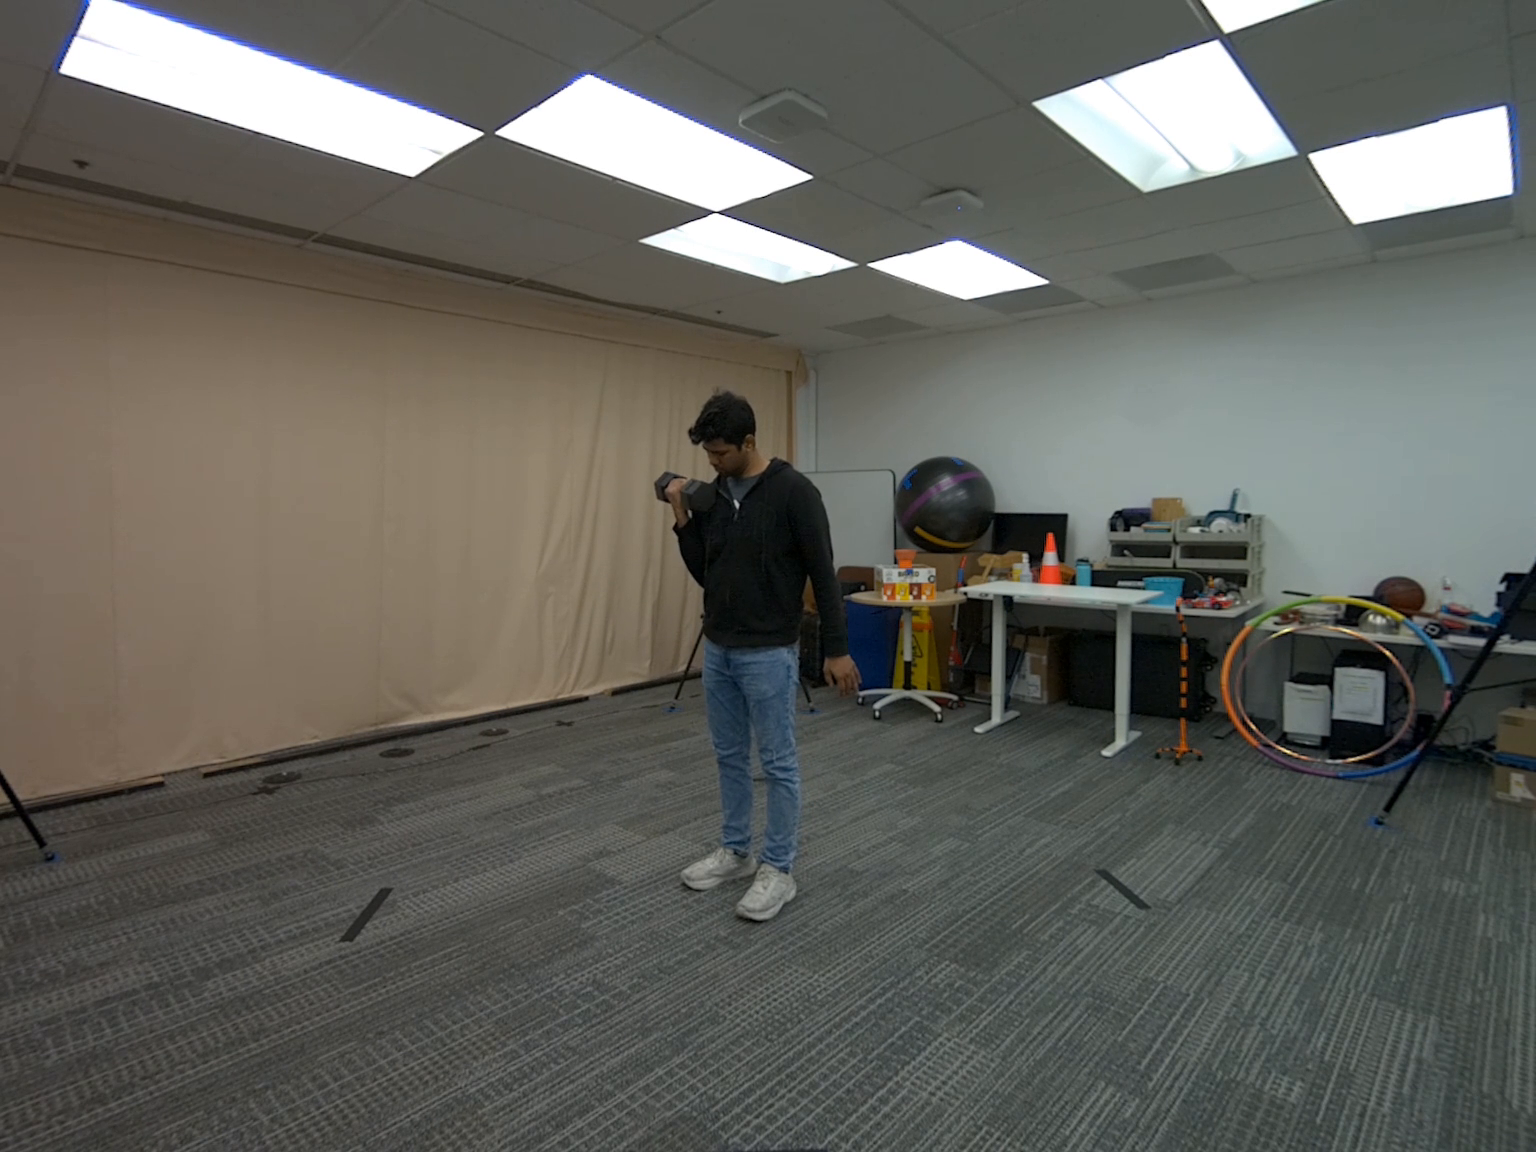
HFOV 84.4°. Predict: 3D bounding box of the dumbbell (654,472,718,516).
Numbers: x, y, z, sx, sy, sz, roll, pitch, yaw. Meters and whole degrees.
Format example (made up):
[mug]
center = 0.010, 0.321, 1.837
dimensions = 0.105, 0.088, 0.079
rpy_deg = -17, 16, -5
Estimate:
[dumbbell]
center = -0.305, -0.285, 2.963
dimensions = 0.106, 0.121, 0.304
rpy_deg = -20, 23, -28
